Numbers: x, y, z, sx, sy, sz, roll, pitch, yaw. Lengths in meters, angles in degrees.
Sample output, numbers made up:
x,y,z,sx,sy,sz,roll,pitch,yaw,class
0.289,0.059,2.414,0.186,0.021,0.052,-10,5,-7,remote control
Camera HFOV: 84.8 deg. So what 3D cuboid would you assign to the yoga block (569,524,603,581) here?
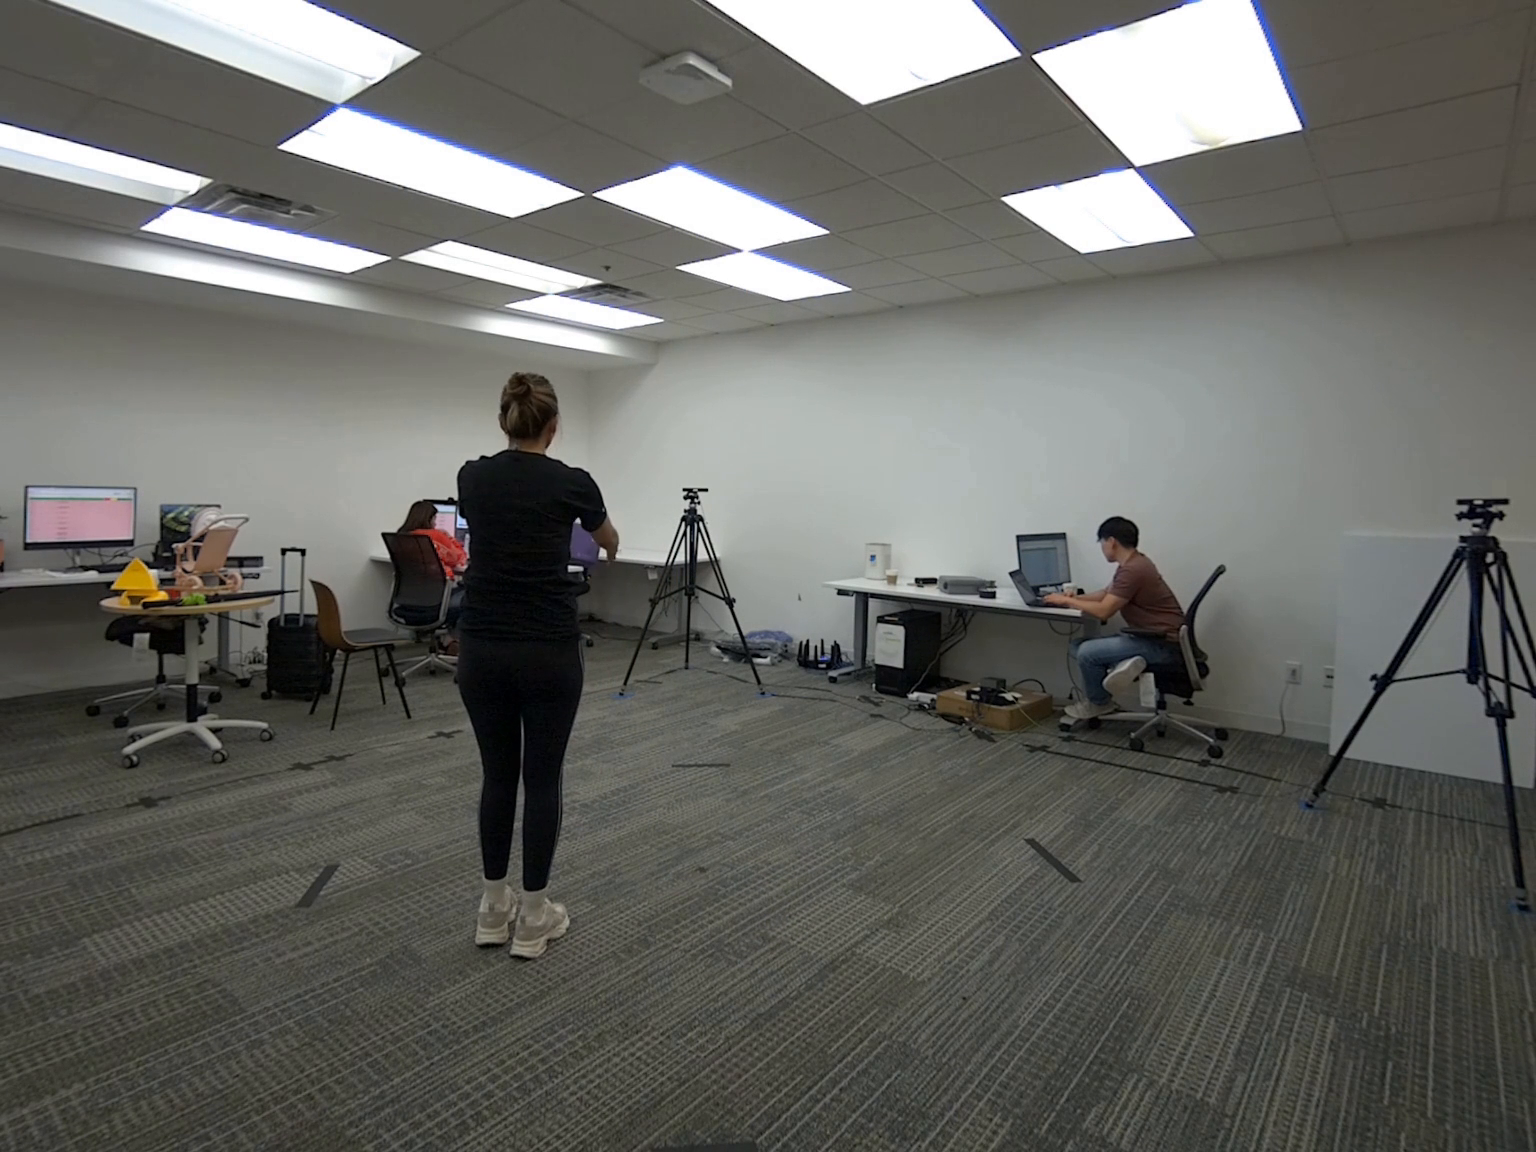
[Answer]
x,y,z,sx,sy,sz,roll,pitch,yaw,class
-0.742,-0.118,3.175,0.224,0.151,0.077,13,-18,-18,yoga block
